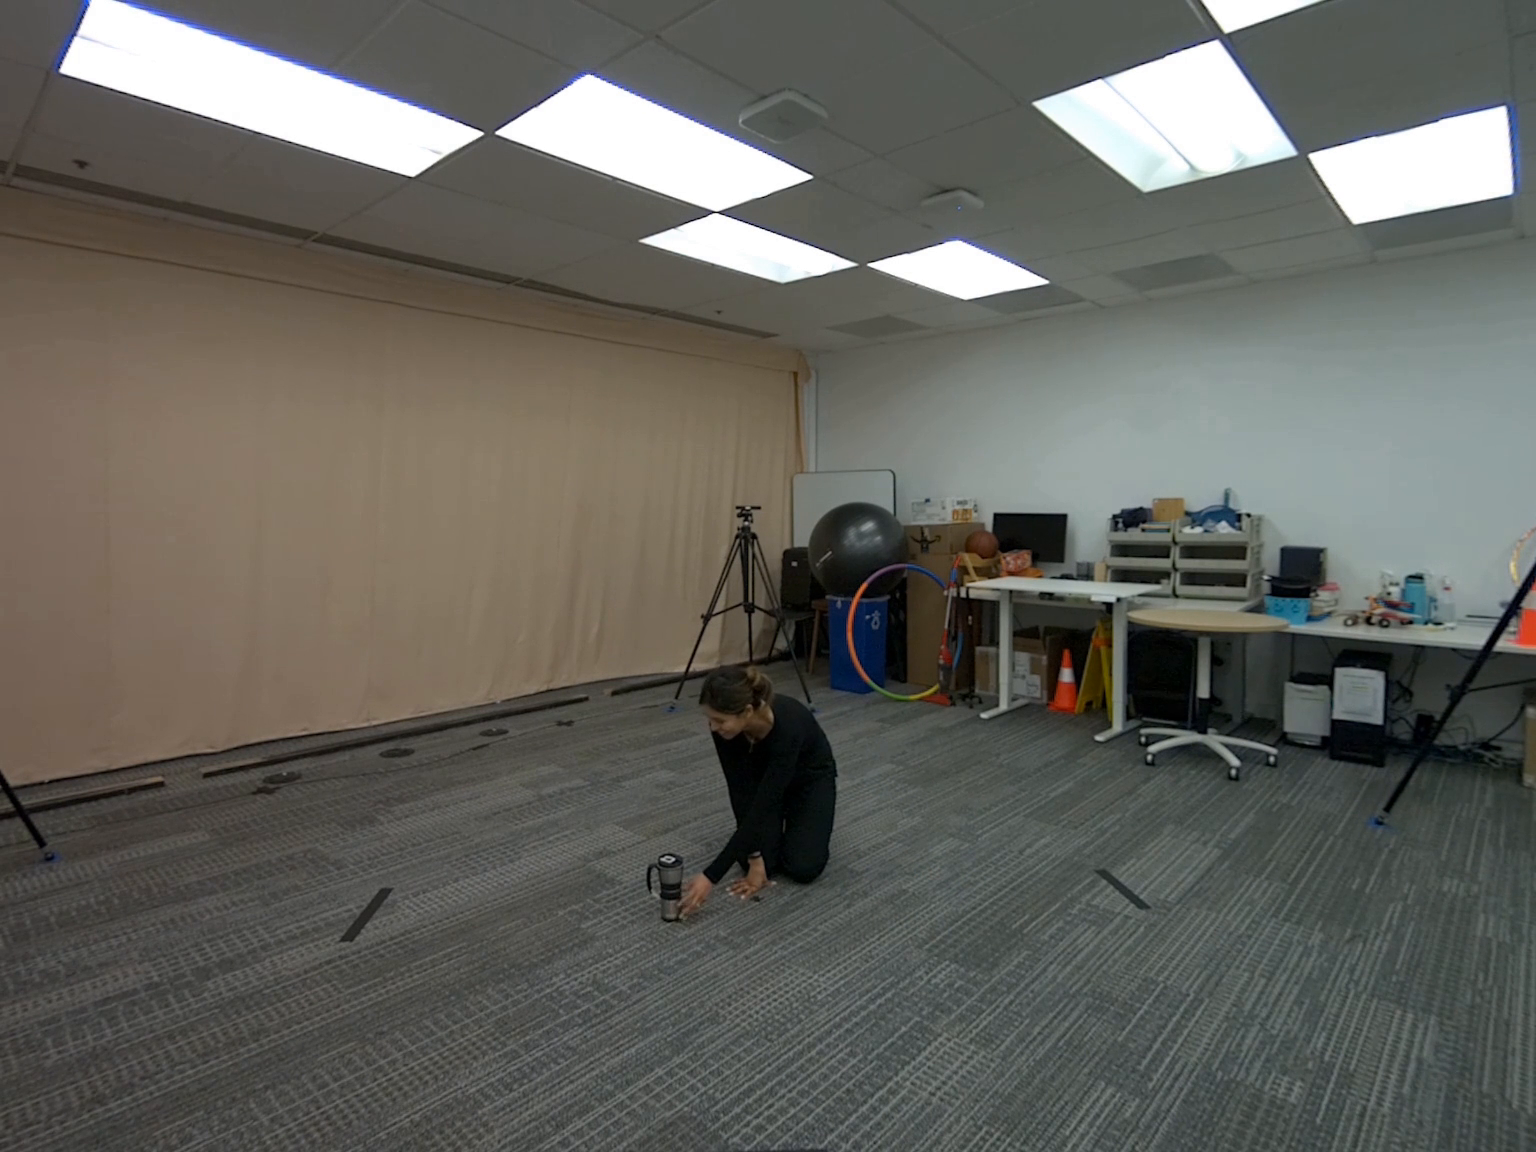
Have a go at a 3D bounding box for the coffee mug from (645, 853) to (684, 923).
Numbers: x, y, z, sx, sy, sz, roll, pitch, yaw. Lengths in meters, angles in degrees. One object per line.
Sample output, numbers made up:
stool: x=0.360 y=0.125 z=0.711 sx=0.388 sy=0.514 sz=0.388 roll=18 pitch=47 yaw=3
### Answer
coffee mug: x=-0.347 y=1.058 z=2.854 sx=0.125 sy=0.202 sz=0.086 roll=4 pitch=8 yaw=21
